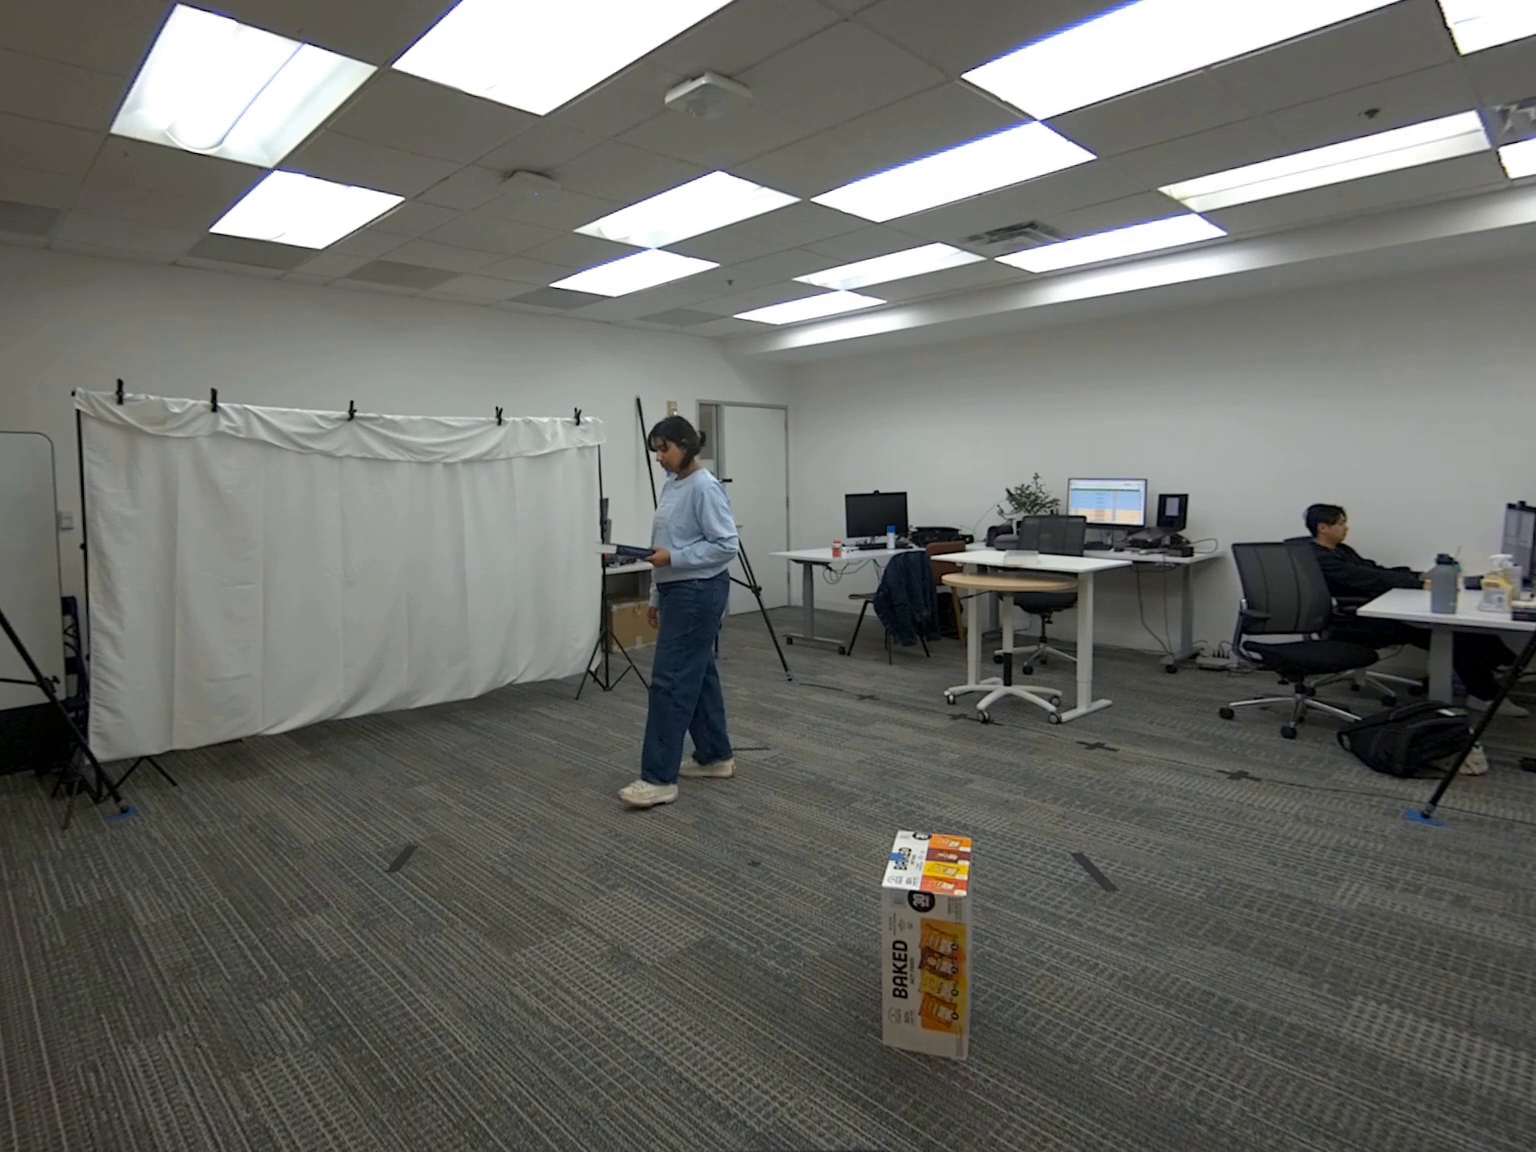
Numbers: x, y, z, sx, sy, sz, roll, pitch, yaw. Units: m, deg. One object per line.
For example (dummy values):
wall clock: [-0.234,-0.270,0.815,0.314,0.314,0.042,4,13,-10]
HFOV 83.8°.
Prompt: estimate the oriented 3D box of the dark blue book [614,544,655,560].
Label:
dark blue book: [-0.595,-0.113,3.759,0.237,0.045,0.168,6,1,-45]
